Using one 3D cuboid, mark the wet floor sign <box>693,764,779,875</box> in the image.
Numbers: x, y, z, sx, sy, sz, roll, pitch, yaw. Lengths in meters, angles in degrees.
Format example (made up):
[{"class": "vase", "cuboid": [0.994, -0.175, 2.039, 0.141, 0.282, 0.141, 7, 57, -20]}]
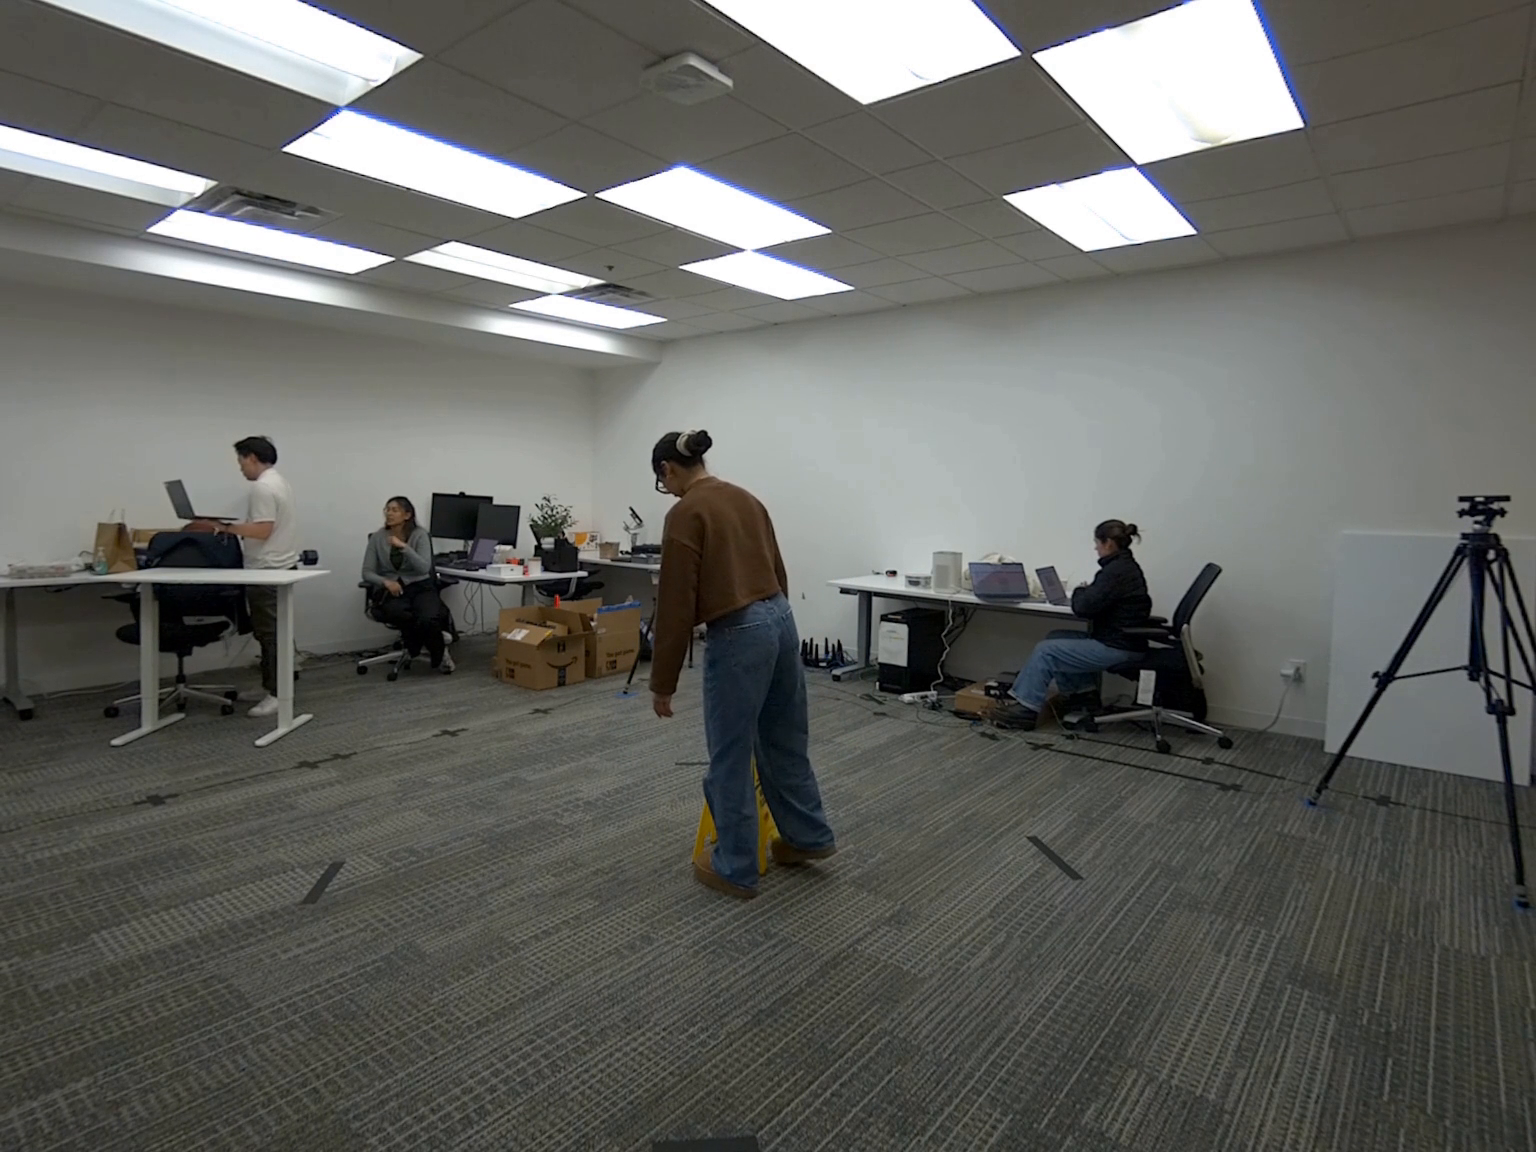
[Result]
[{"class": "wet floor sign", "cuboid": [-0.118, 0.734, 3.218, 0.295, 0.644, 0.278, 2, 3, 15]}]
